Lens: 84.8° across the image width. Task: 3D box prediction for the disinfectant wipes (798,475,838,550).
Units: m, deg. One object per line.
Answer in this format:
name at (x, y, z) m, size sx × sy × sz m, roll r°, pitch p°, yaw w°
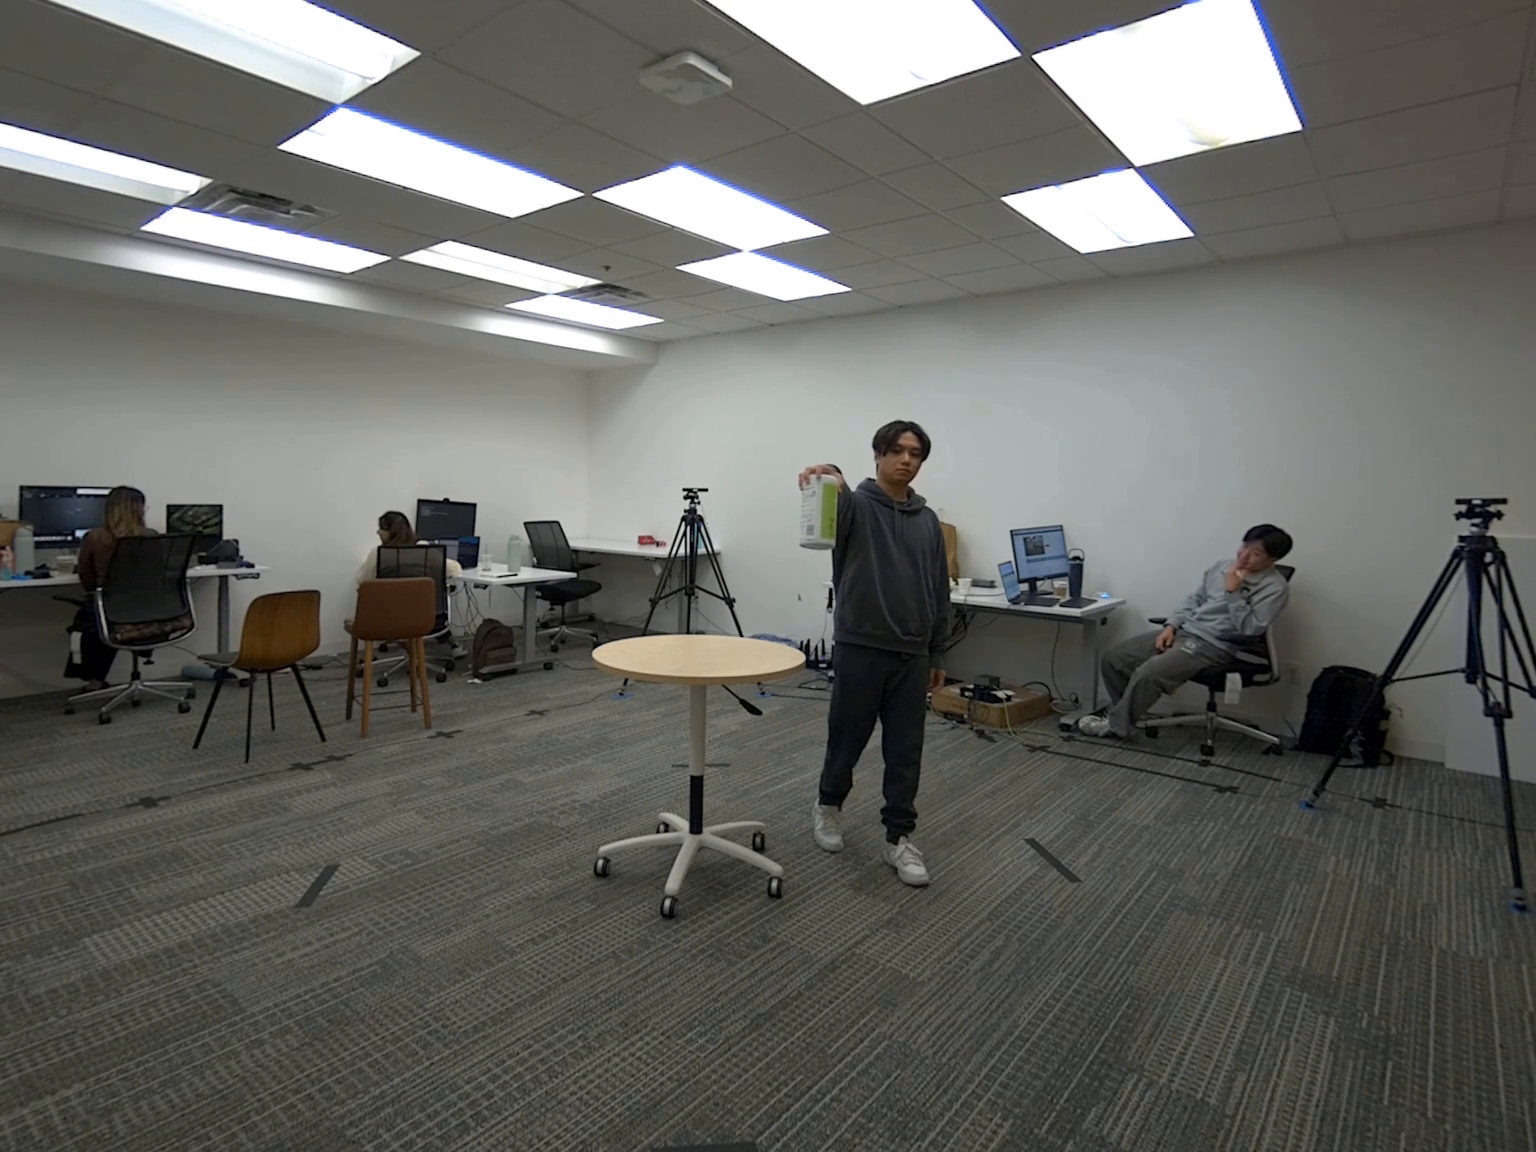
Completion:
disinfectant wipes at (0.145, -0.193, 2.580) m, size 0.118 × 0.219 × 0.117 m, roll 1°, pitch -8°, yaw -2°
